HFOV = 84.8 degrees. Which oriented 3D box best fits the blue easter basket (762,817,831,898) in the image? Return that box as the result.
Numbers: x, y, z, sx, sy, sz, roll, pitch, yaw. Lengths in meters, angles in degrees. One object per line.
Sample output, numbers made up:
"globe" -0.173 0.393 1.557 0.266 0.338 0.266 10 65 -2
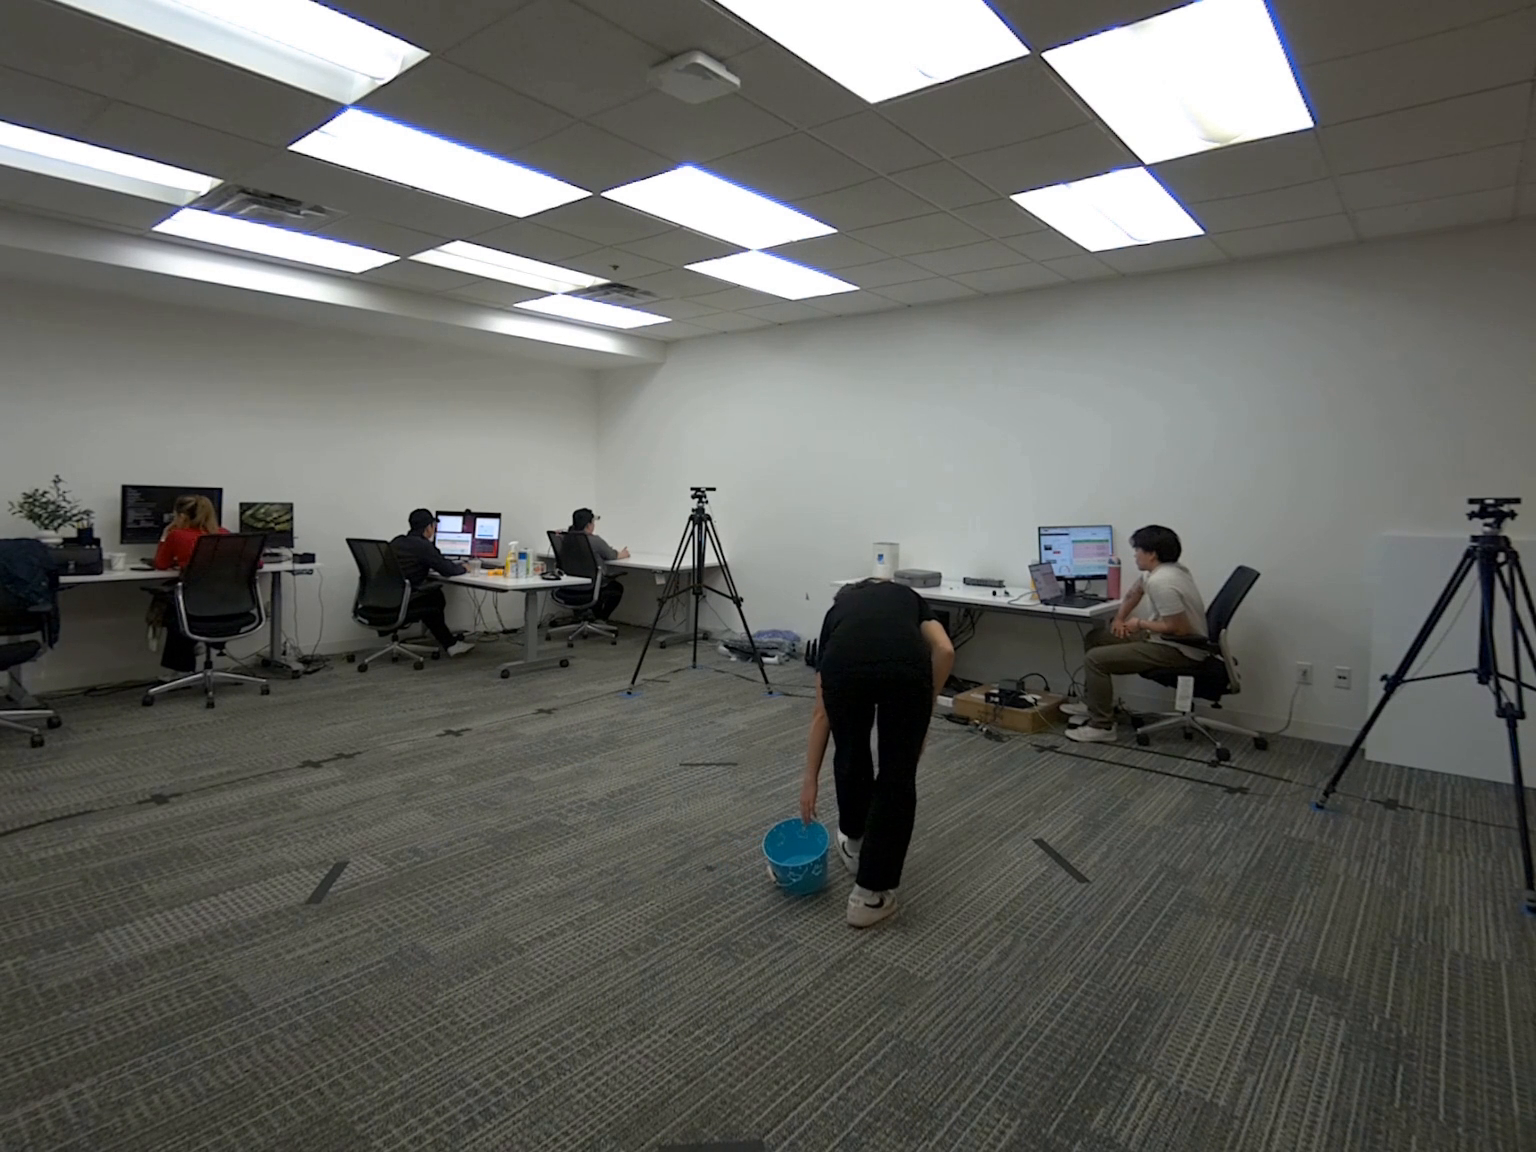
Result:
"blue easter basket" 0.097 0.982 2.976 0.244 0.152 0.249 -9 23 2
